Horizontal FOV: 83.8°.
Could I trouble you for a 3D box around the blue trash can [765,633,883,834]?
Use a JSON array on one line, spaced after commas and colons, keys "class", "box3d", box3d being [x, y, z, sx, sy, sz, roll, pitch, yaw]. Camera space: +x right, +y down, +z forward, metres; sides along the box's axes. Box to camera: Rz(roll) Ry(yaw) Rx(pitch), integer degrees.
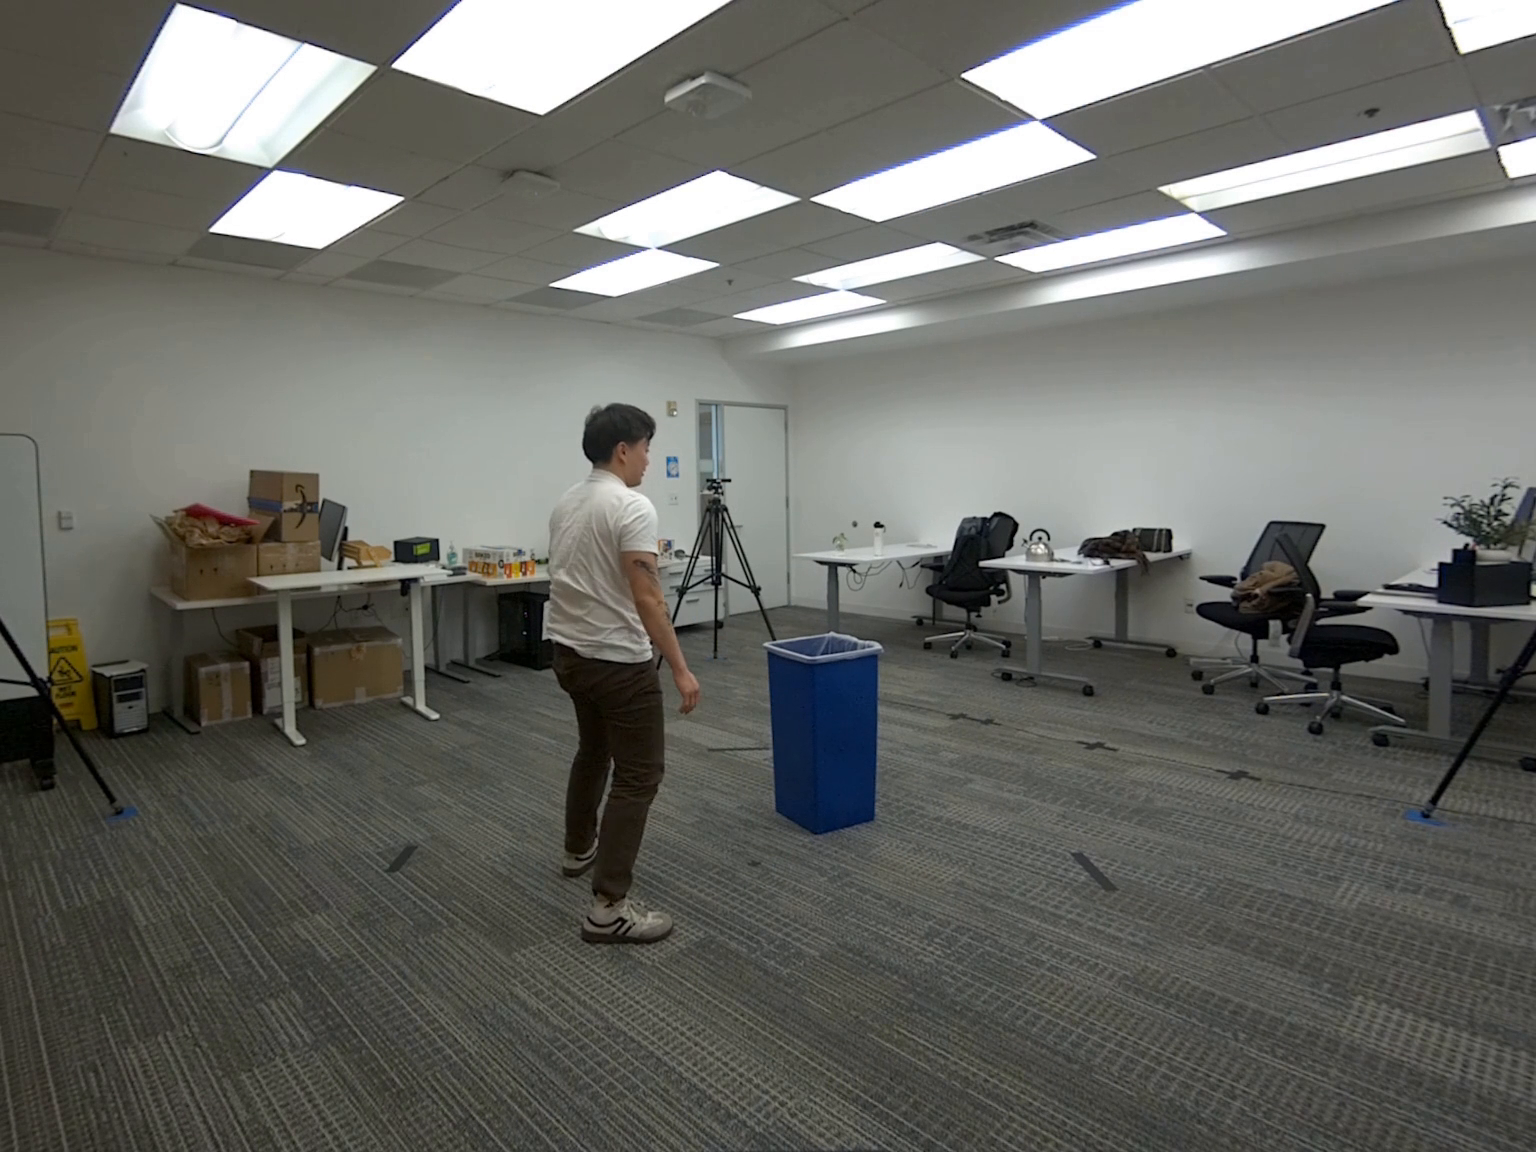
[{"class": "blue trash can", "box3d": [0.224, 0.634, 3.525, 0.369, 0.711, 0.385, -4, 5, -32]}]
